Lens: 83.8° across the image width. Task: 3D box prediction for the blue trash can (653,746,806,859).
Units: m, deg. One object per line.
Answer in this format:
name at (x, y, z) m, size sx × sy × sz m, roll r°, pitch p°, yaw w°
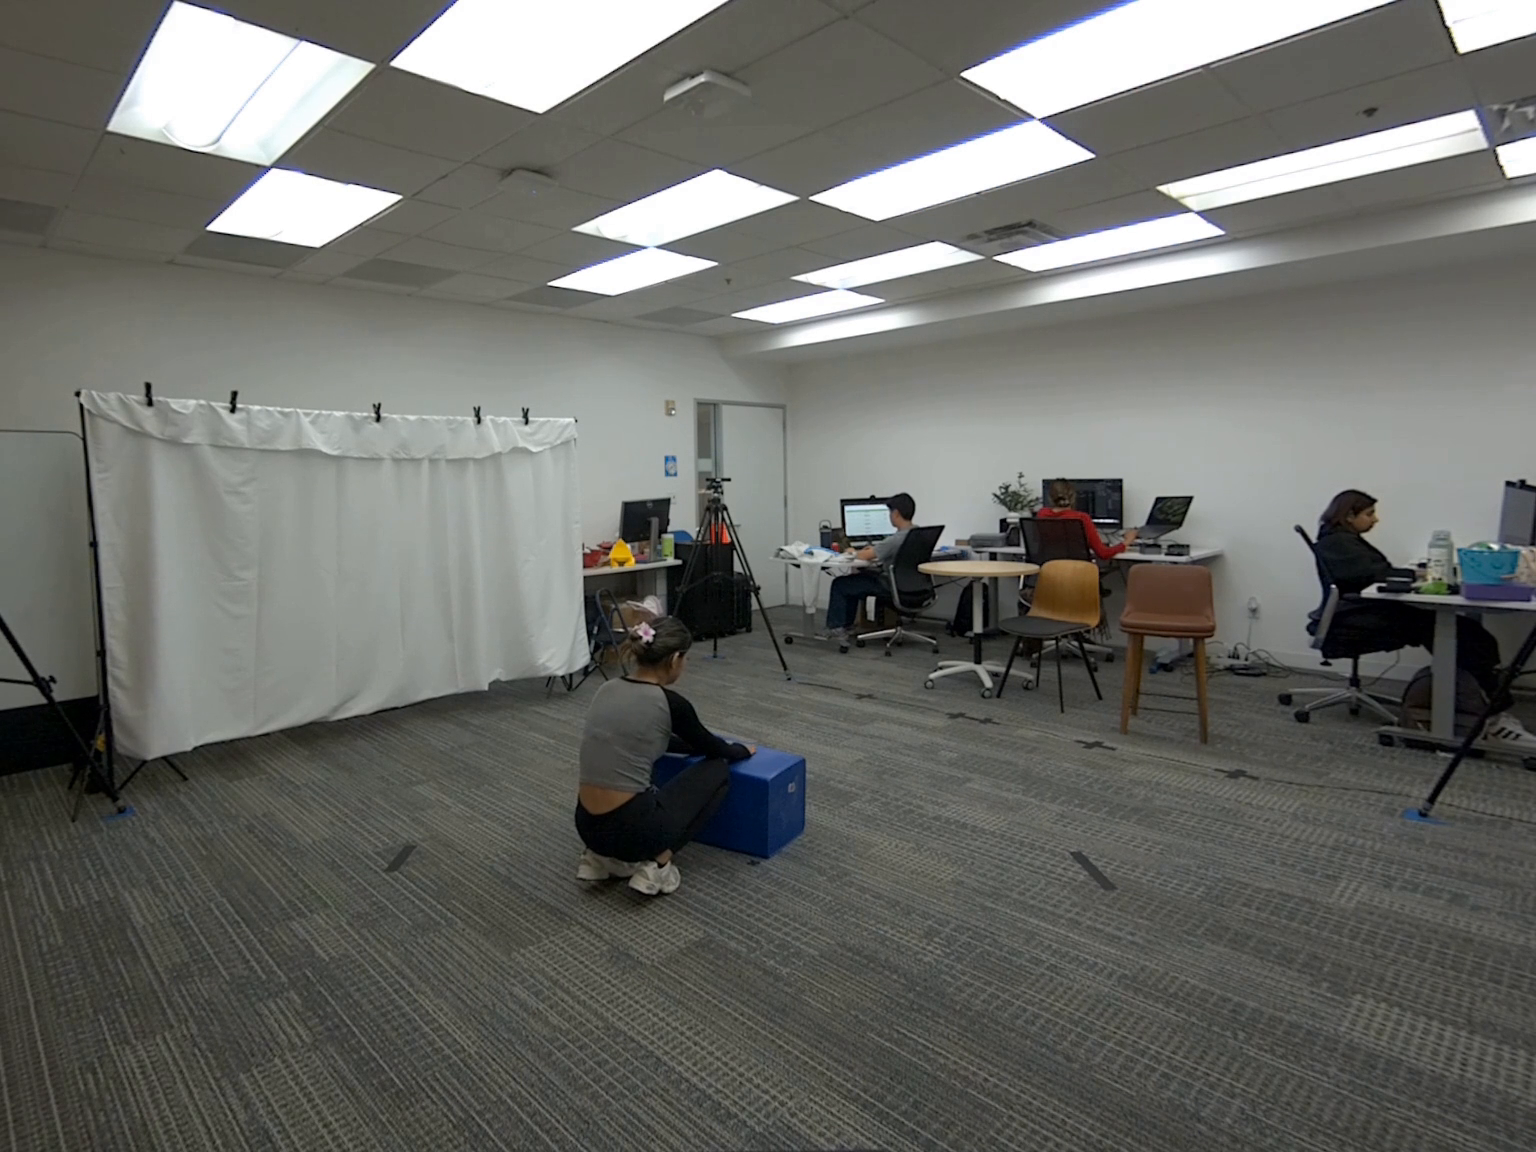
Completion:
blue trash can at (-0.235, 0.843, 3.424) m, size 0.734 × 0.376 × 0.365 m, roll 6°, pitch 7°, yaw 31°
